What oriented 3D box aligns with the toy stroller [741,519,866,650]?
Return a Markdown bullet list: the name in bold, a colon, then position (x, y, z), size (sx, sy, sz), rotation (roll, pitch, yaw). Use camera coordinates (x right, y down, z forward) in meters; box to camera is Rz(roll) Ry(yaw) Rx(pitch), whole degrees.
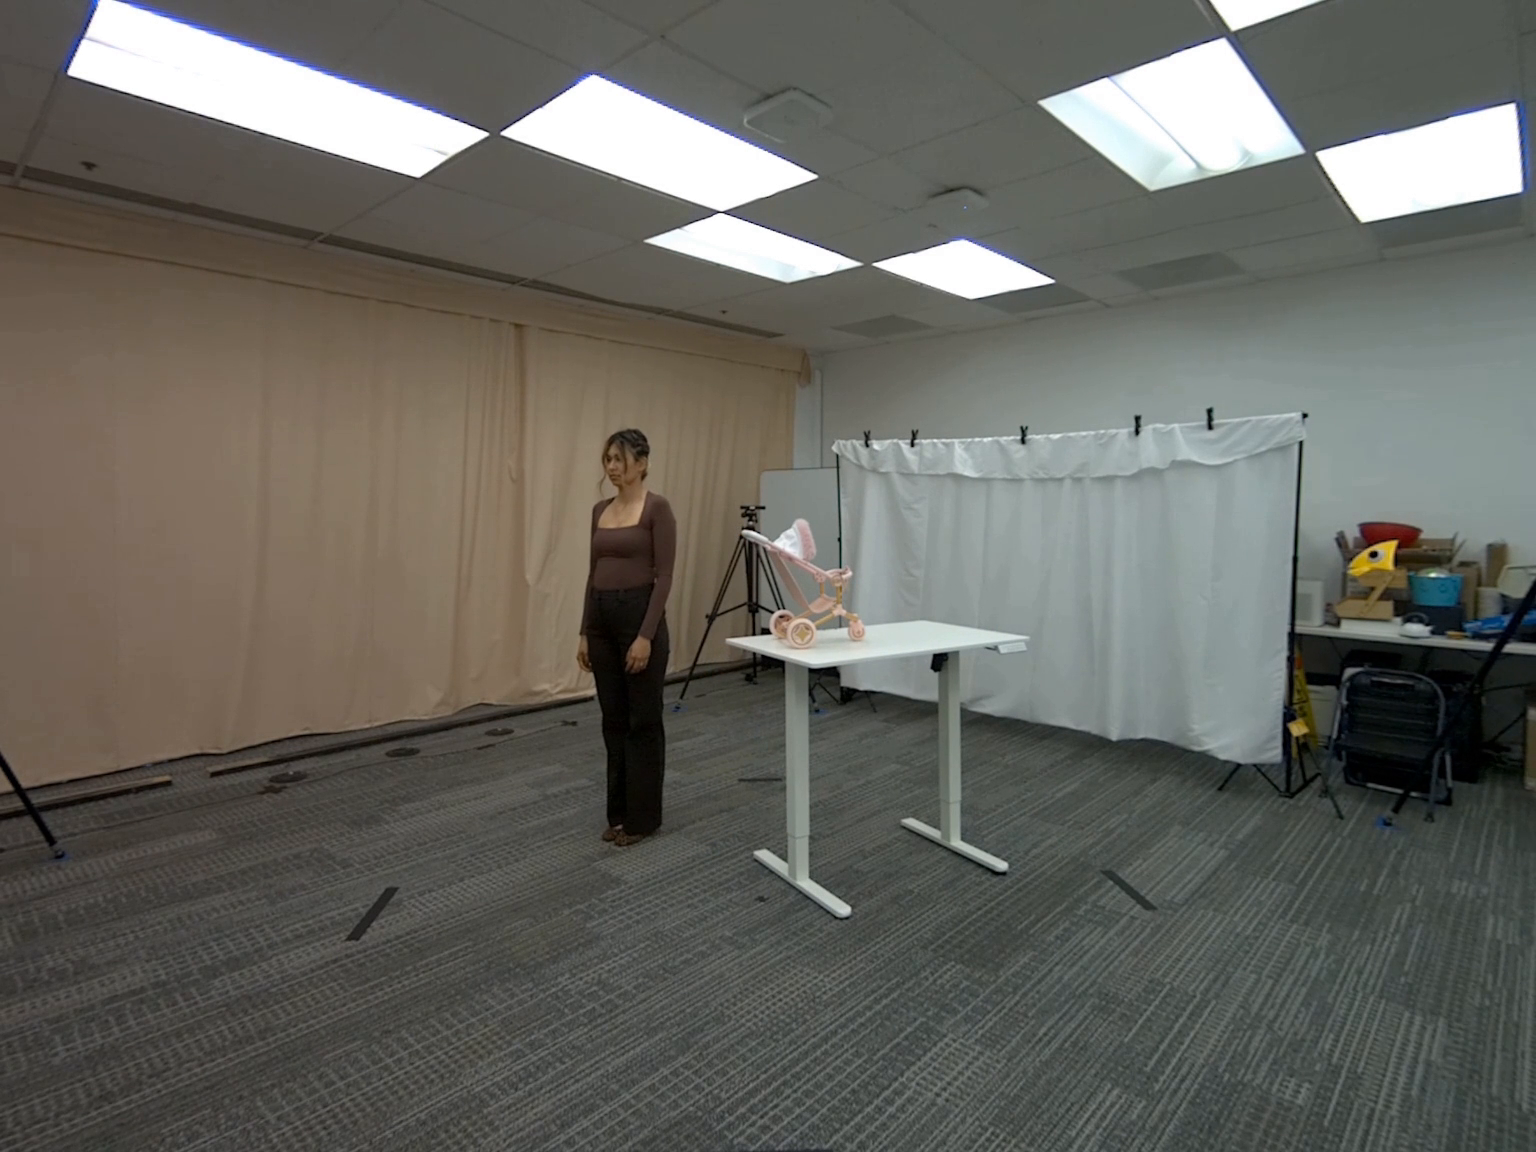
- **toy stroller**: position (0.155, 0.030, 3.130), size (0.339, 0.532, 0.284), rotation (-19, 6, -7)
